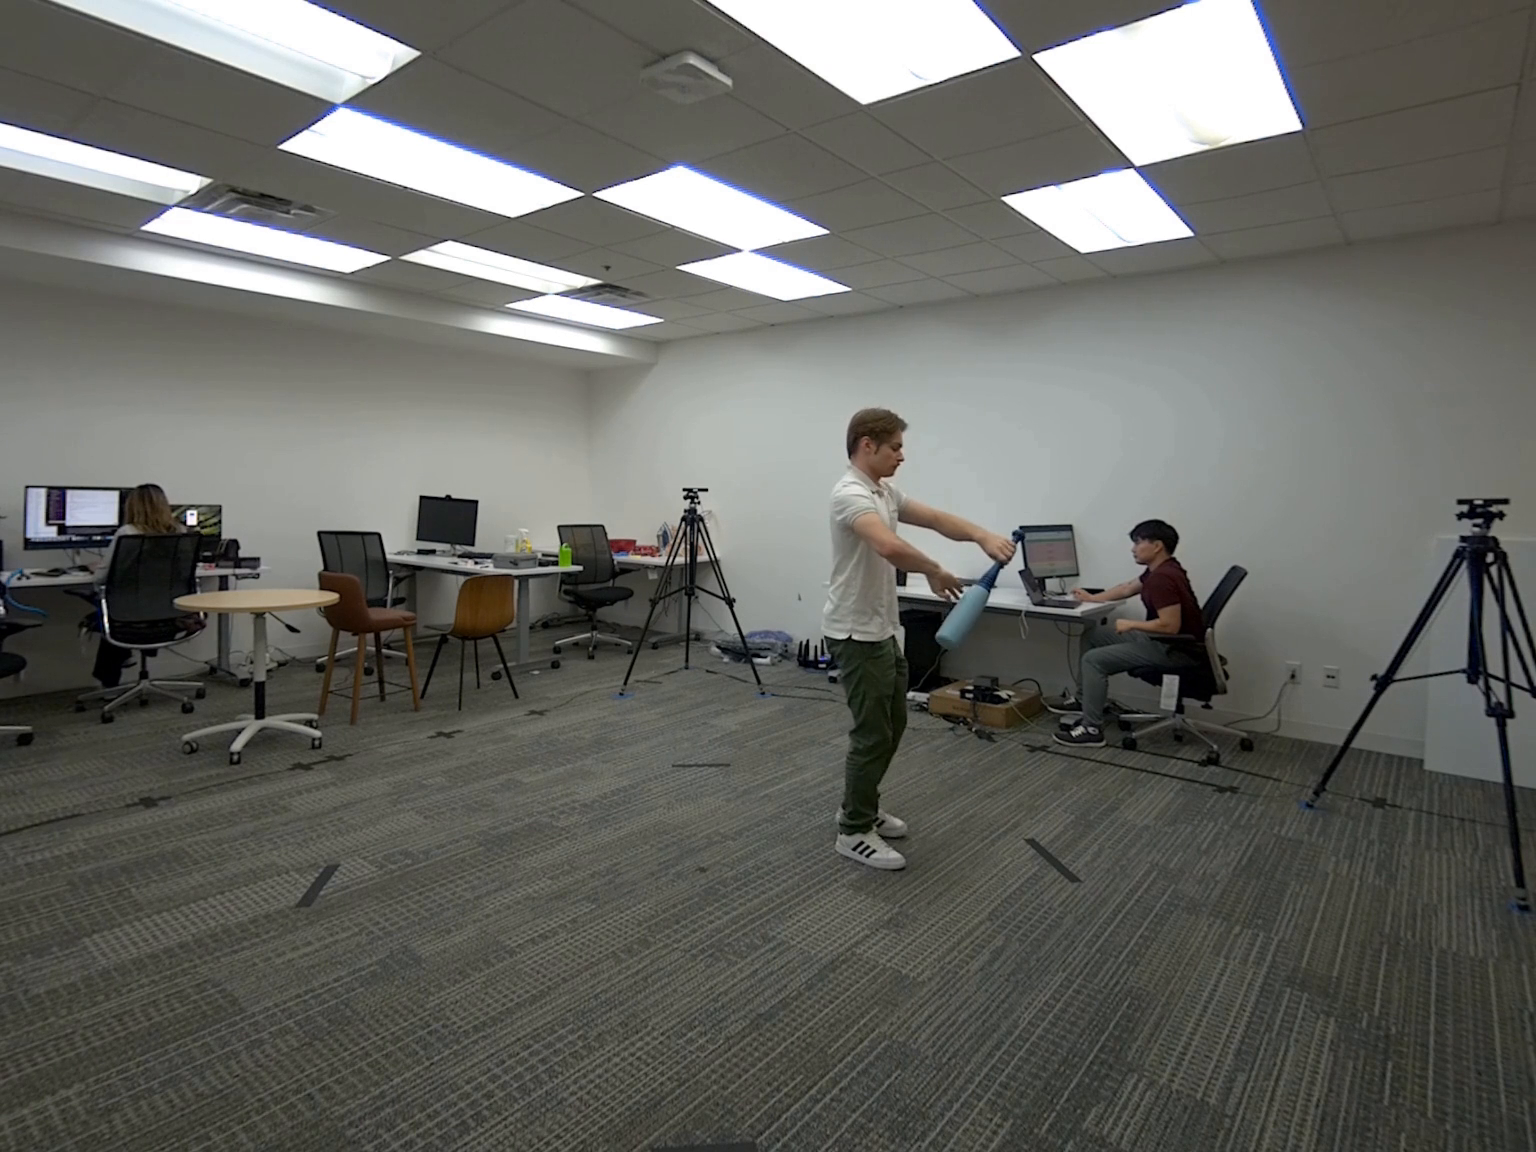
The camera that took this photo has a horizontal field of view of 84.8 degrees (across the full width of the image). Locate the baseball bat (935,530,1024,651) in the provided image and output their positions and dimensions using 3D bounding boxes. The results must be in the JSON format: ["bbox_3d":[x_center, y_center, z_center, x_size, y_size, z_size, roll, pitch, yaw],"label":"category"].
[{"bbox_3d":[0.775,0.037,3.053,0.091,0.543,0.087,35,-18,11],"label":"baseball bat"}]
